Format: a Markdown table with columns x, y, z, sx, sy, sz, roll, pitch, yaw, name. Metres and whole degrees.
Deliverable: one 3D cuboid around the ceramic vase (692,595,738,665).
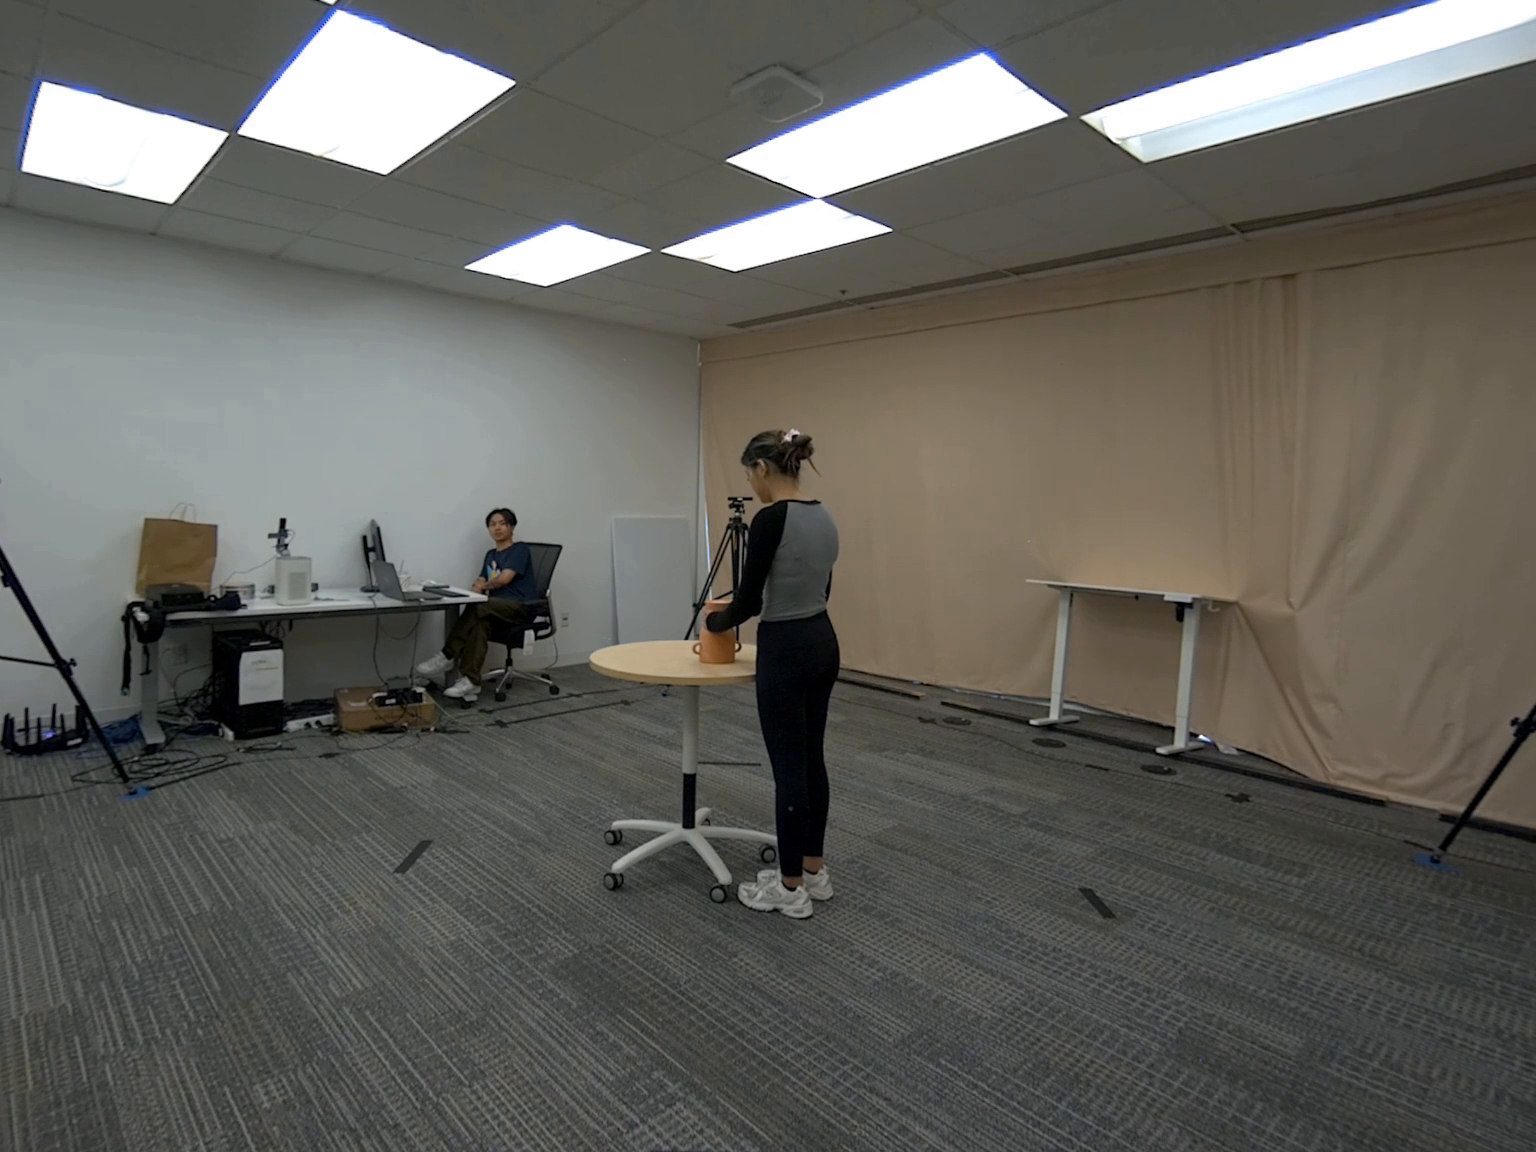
| x | y | z | sx | sy | sz | roll | pitch | yaw | name |
| --- | --- | --- | --- | --- | --- | --- | --- | --- | --- |
| -0.184 | 0.203 | 3.086 | 0.137 | 0.219 | 0.156 | 6 | 7 | 24 | ceramic vase |
